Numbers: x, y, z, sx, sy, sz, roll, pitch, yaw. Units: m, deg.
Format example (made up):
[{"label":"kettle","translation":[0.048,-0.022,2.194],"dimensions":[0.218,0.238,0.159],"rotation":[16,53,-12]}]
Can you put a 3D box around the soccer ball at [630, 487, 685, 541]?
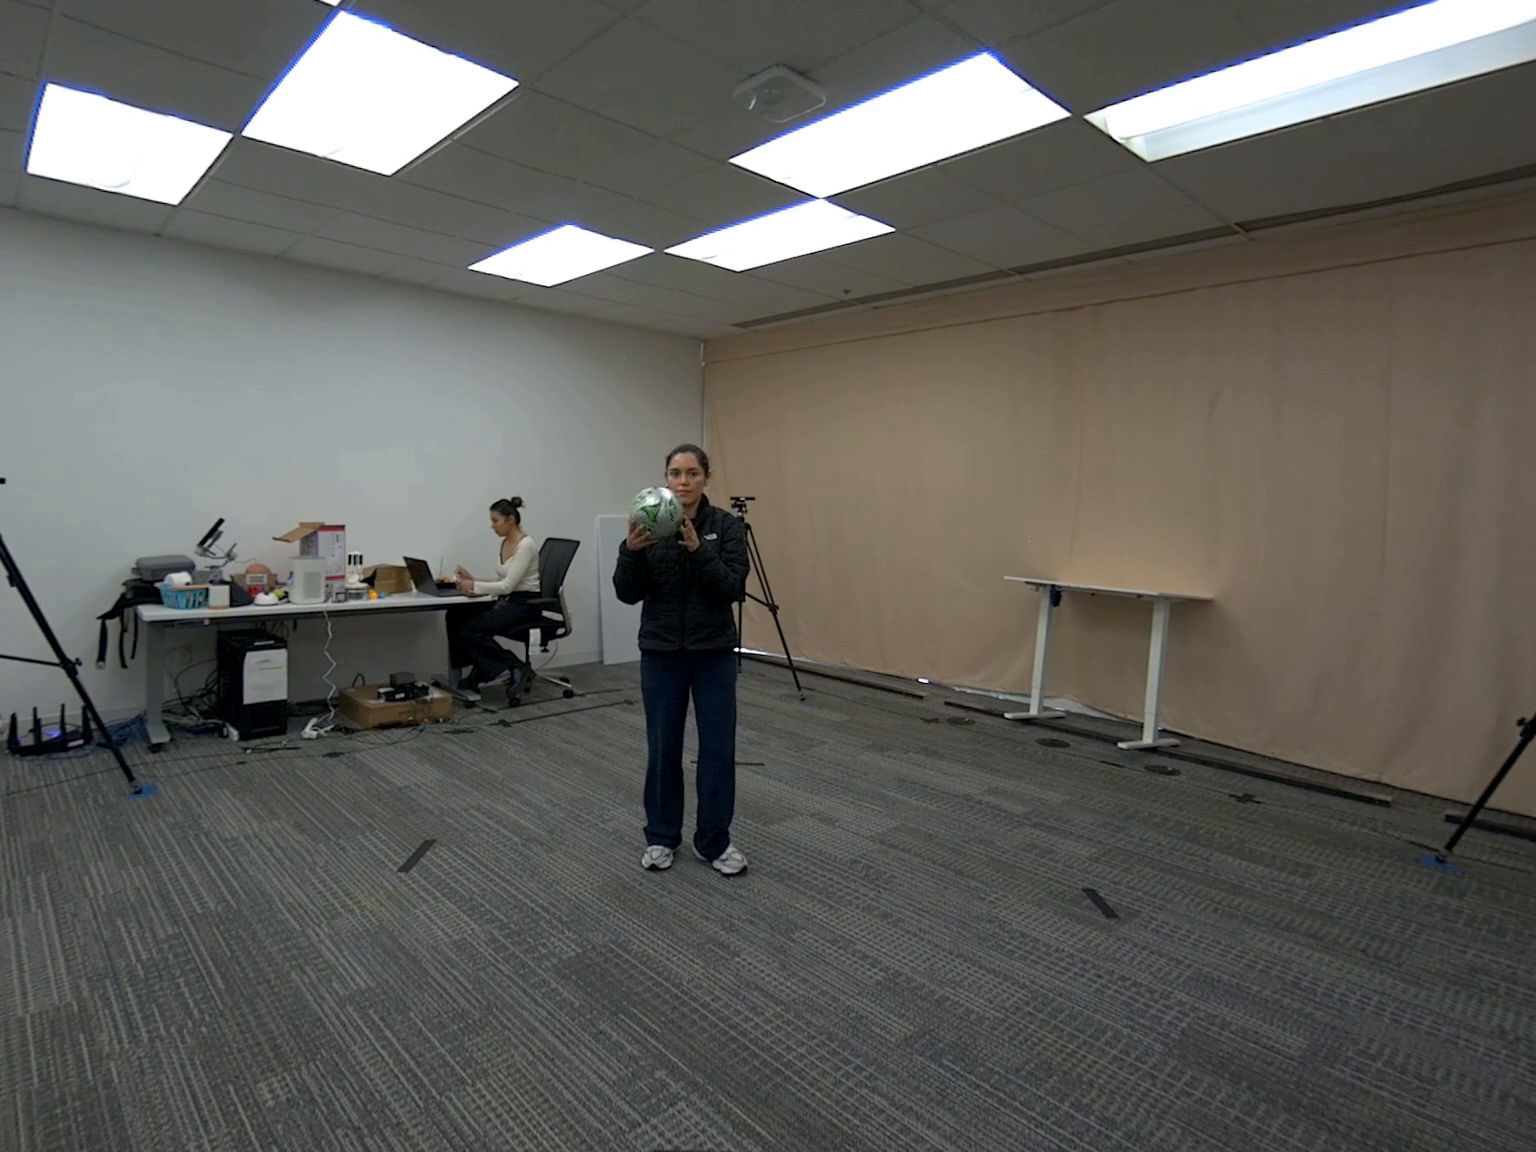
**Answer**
[{"label":"soccer ball","translation":[-0.387,-0.203,2.910],"dimensions":[0.187,0.187,0.188],"rotation":[1,4,-1]}]
